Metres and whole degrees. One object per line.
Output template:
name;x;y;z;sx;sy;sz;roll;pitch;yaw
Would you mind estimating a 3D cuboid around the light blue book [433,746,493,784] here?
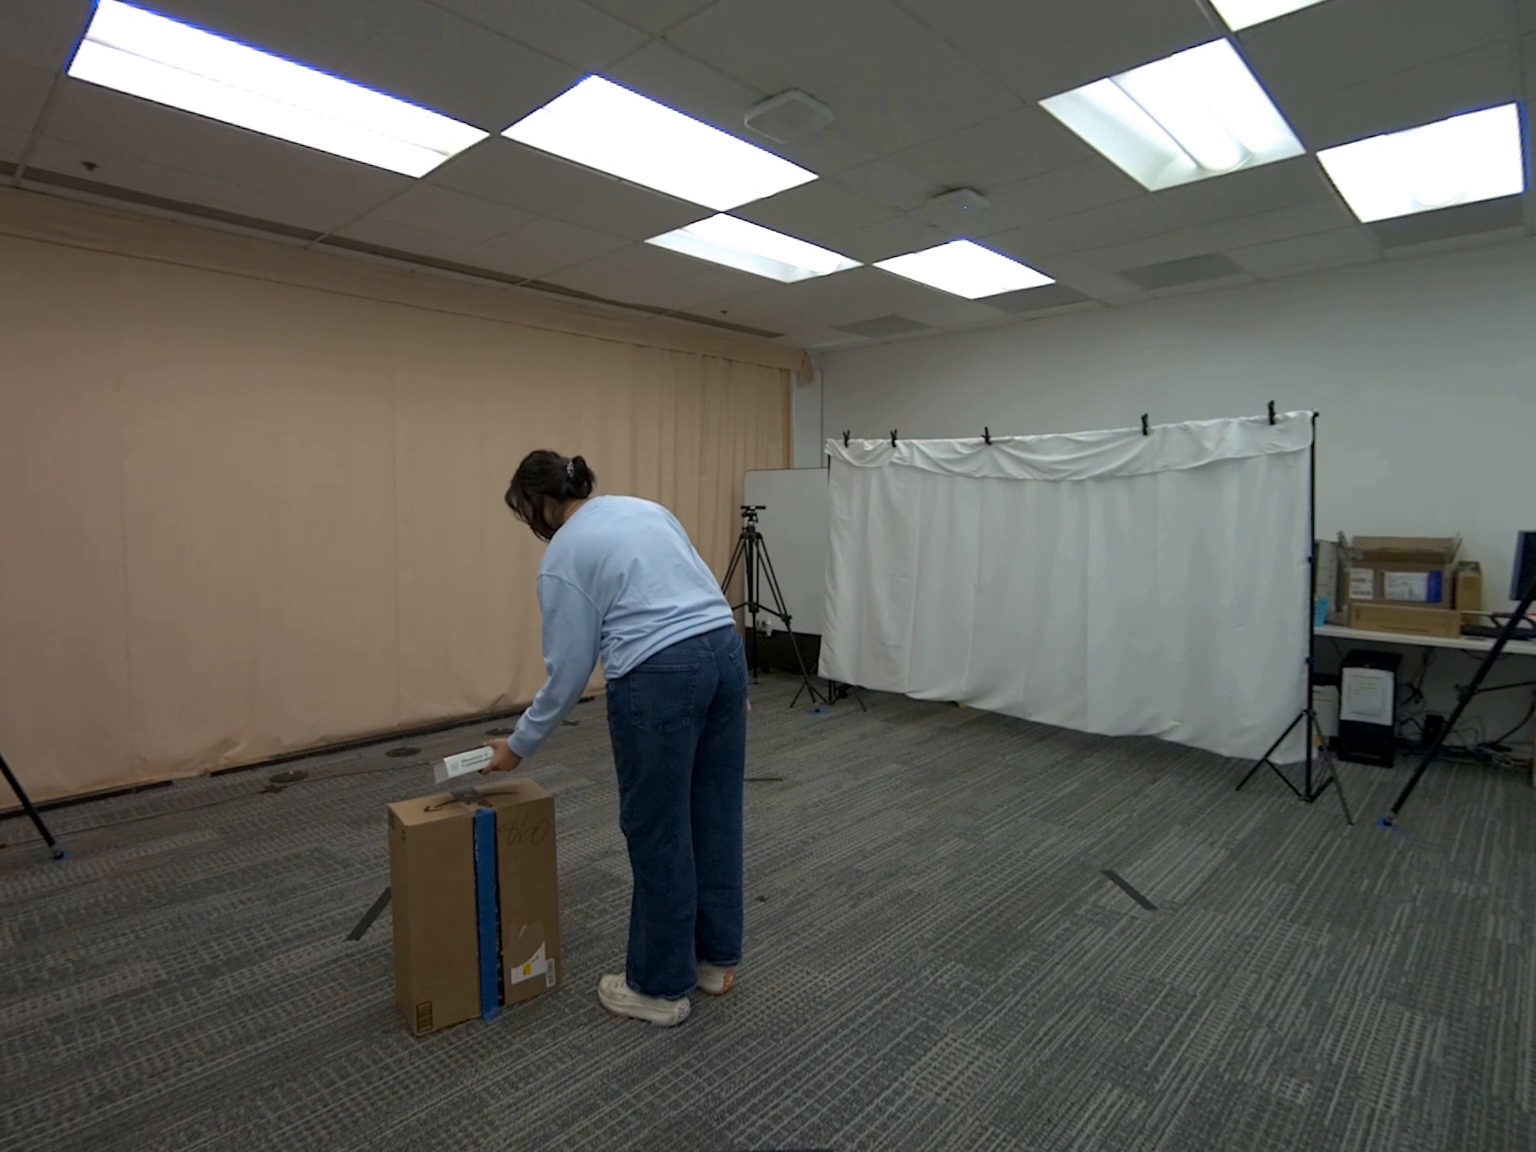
light blue book;-0.810;0.524;2.414;0.254;0.059;0.195;-10;-10;-34
